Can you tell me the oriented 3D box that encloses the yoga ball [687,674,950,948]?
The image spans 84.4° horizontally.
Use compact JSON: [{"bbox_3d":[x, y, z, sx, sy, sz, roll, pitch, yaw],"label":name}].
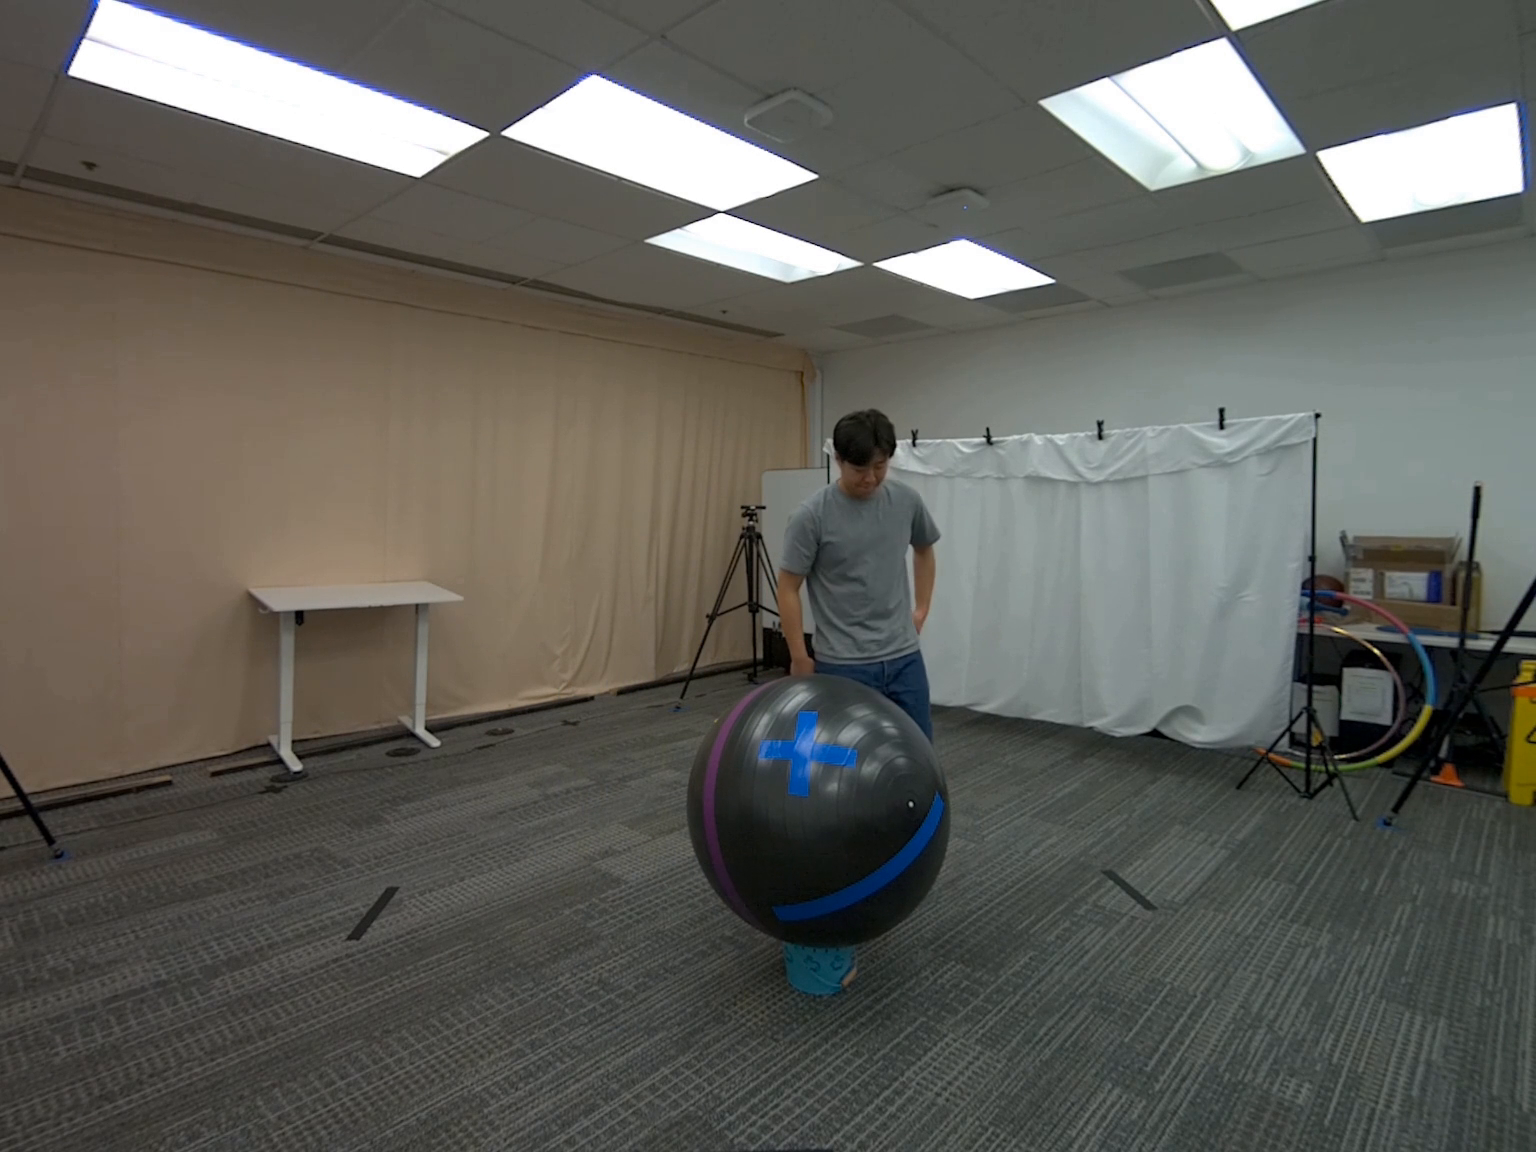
[{"bbox_3d":[0.137,0.677,2.459,0.757,0.756,0.760,0,4,-2],"label":"yoga ball"}]
